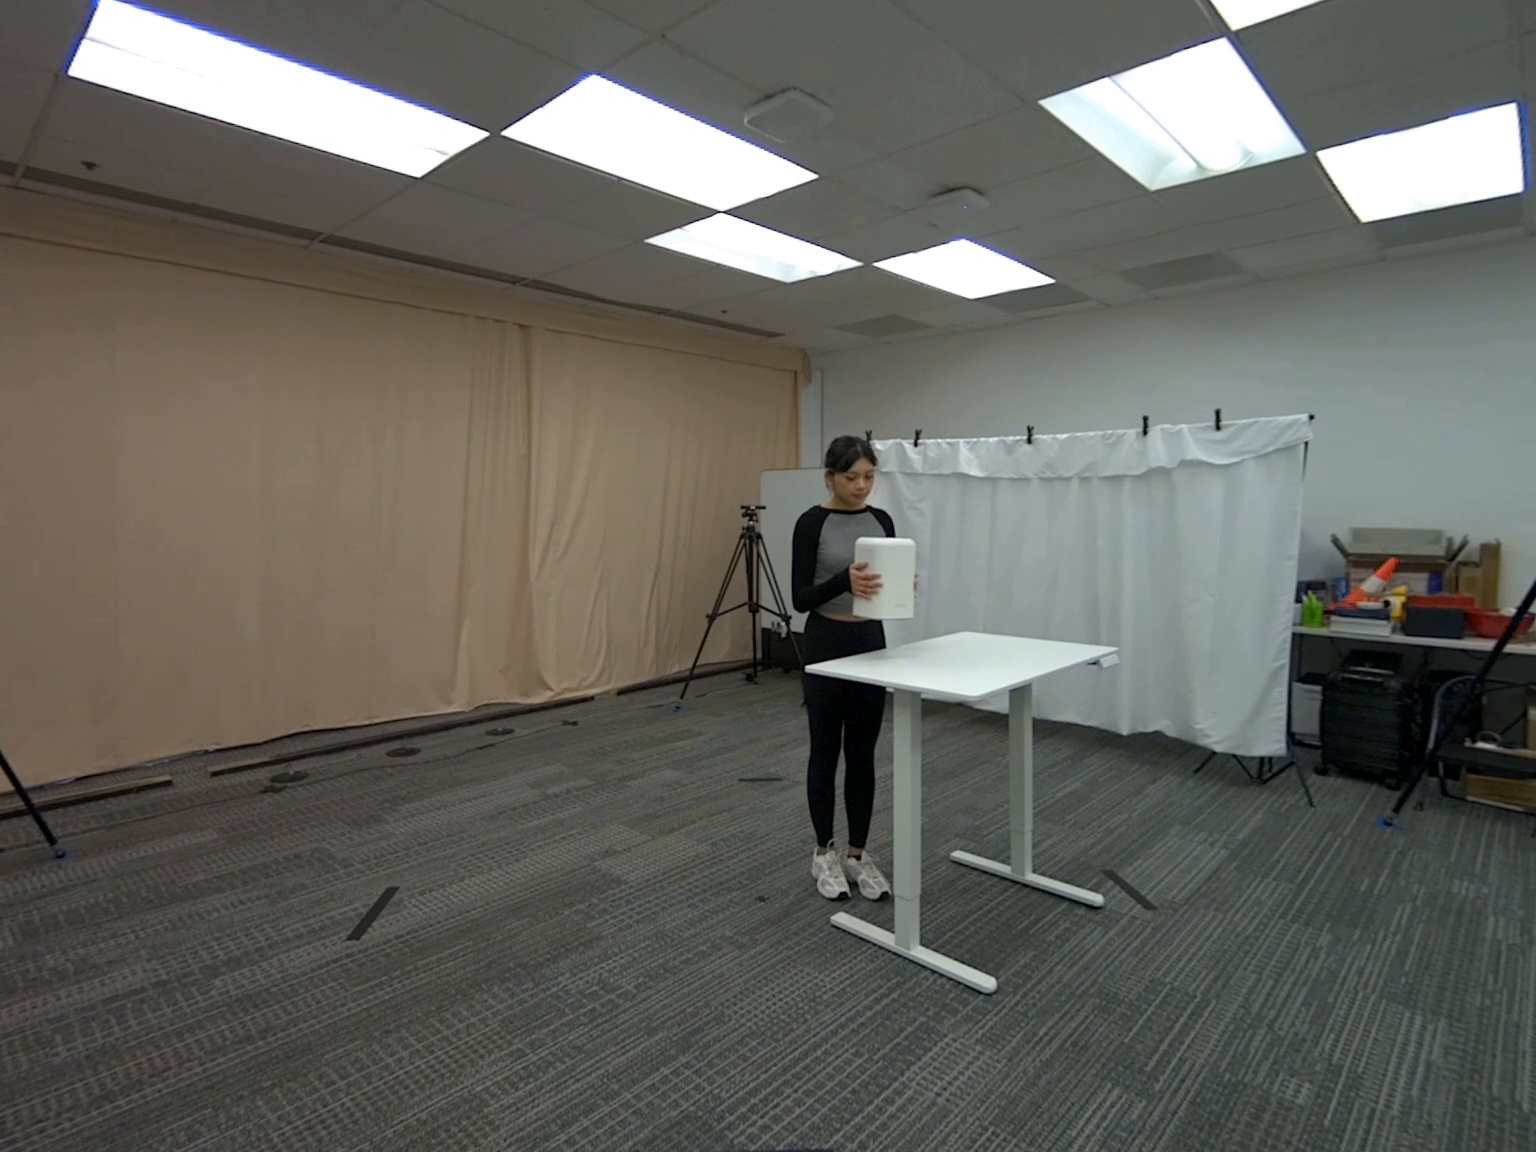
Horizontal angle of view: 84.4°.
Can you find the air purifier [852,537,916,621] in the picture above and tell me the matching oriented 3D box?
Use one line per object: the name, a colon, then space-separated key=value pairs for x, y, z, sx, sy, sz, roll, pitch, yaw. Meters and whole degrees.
air purifier: x=0.389 y=0.004 z=2.807 sx=0.167 sy=0.265 sz=0.176 roll=0 pitch=3 yaw=-27
